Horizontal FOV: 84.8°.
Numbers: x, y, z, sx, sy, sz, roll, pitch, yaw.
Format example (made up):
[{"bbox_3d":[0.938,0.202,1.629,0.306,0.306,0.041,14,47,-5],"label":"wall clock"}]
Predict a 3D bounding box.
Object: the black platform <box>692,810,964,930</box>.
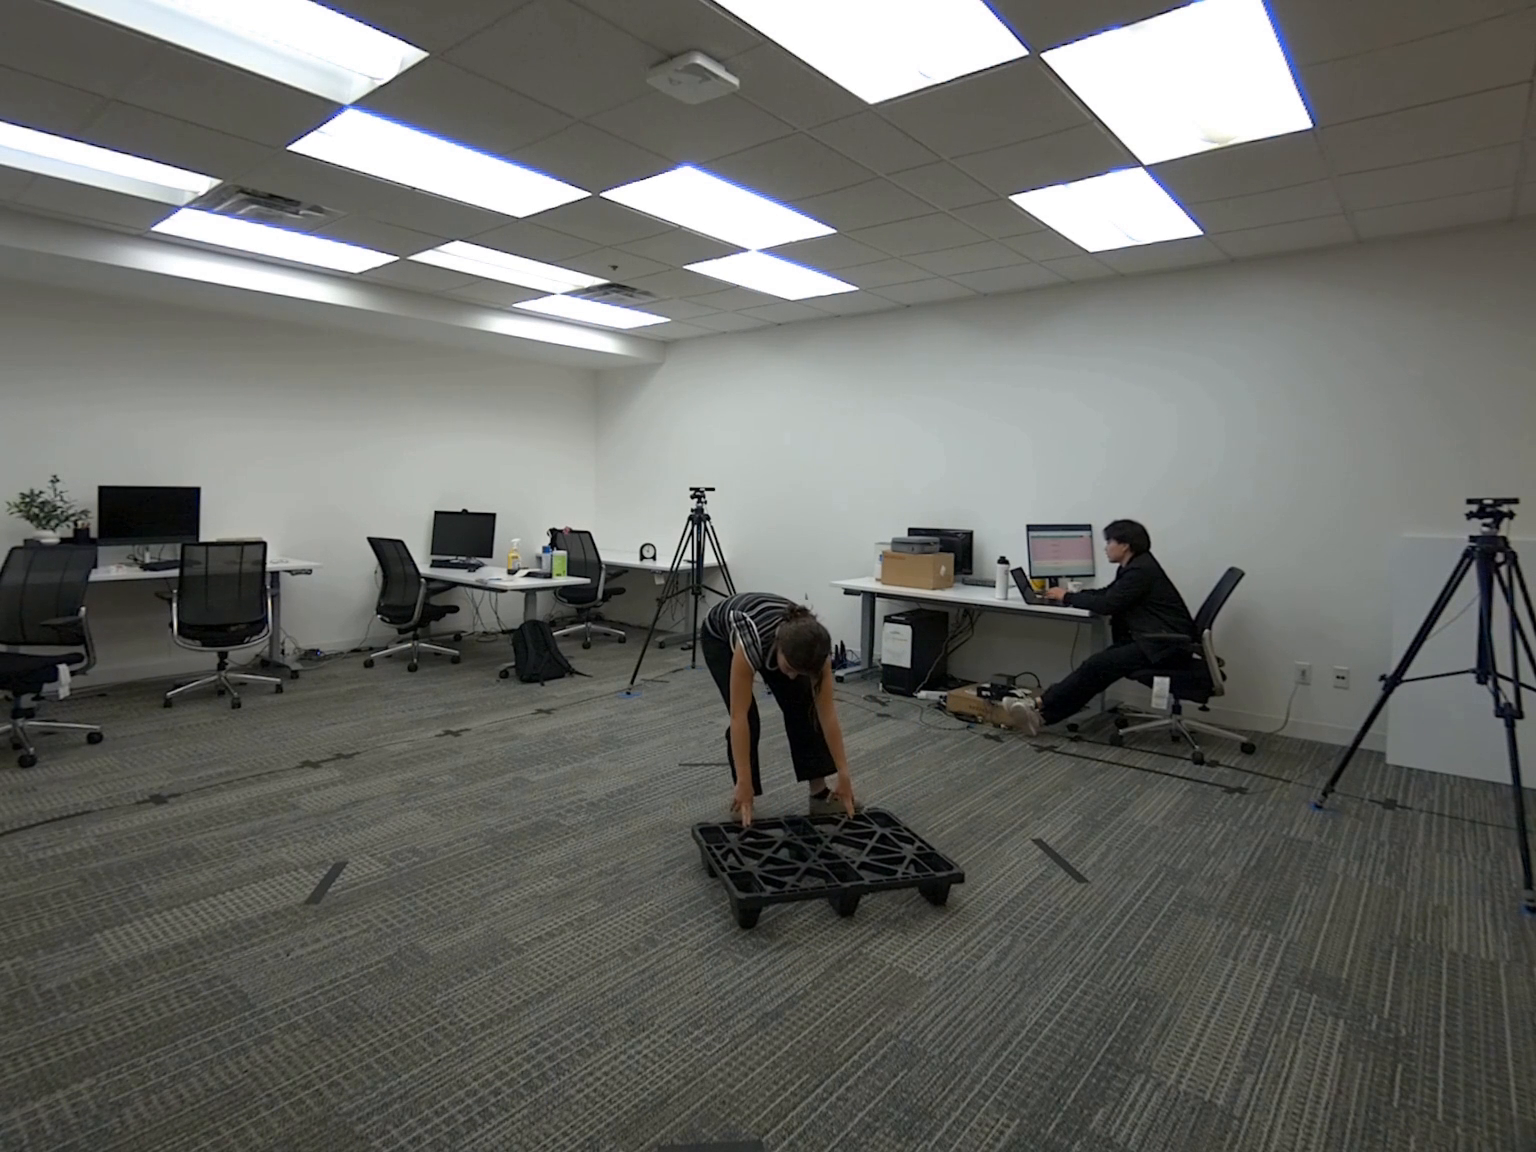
[{"bbox_3d":[0.178,1.017,2.997,0.792,0.142,0.619,-1,7,-17],"label":"black platform"}]
